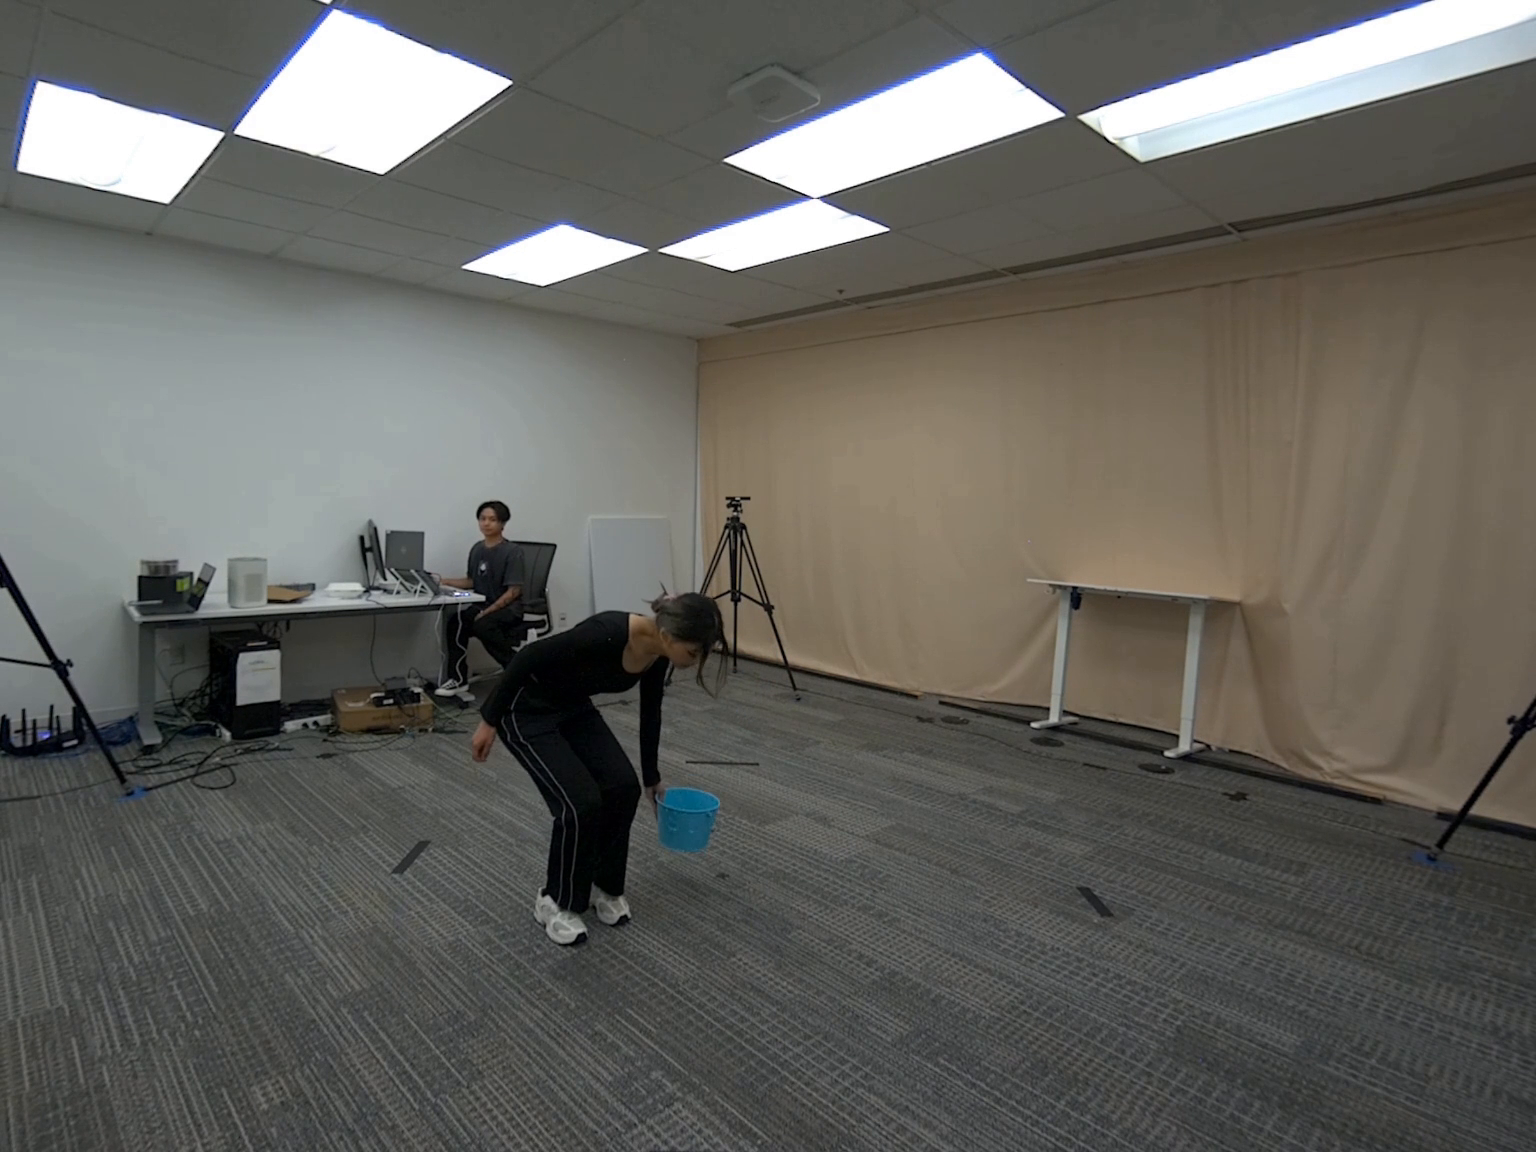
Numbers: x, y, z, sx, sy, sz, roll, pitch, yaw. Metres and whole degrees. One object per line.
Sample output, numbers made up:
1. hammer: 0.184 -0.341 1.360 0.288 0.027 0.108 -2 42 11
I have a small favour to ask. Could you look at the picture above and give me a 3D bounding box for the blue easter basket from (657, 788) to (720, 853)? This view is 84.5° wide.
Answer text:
1. blue easter basket: -0.294 0.871 3.000 0.243 0.155 0.244 6 4 -2
